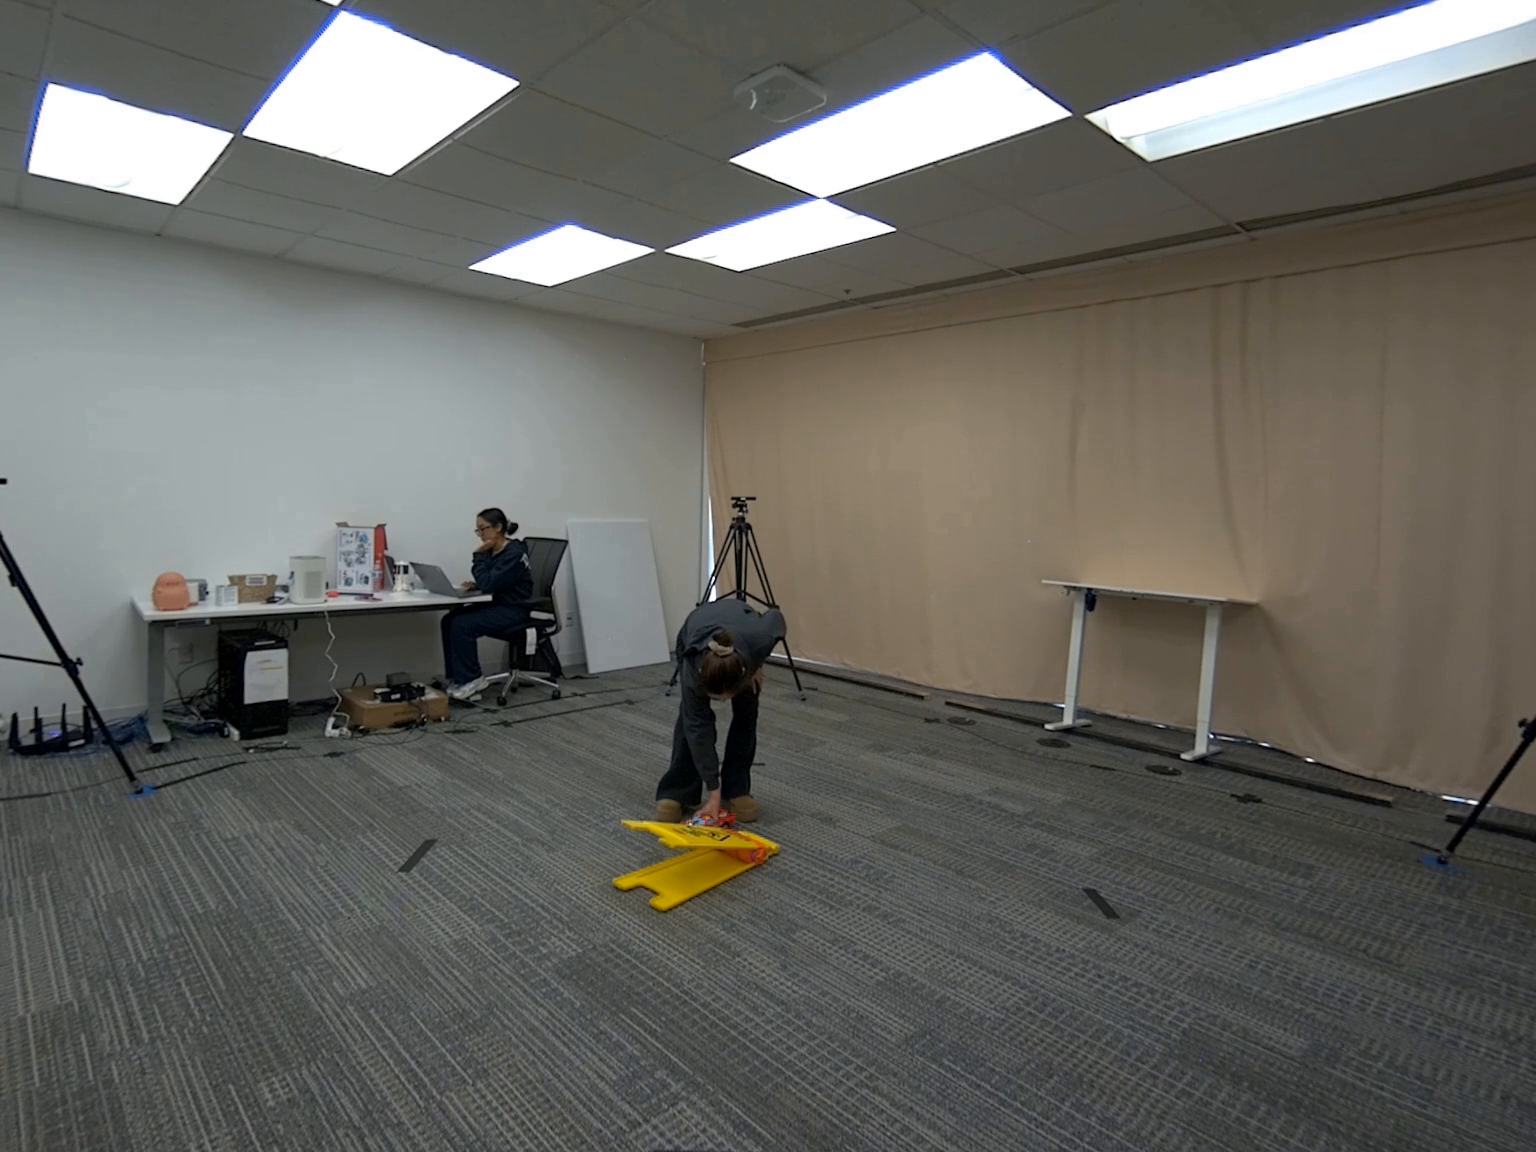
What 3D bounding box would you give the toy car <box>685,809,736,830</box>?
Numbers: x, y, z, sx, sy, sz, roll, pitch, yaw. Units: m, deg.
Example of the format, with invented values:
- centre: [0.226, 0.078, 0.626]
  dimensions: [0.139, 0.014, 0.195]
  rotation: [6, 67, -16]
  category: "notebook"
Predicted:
- centre: [-0.268, 1.034, 3.526]
  dimensions: [0.250, 0.082, 0.133]
  rotation: [-17, 13, -39]
  category: "toy car"
